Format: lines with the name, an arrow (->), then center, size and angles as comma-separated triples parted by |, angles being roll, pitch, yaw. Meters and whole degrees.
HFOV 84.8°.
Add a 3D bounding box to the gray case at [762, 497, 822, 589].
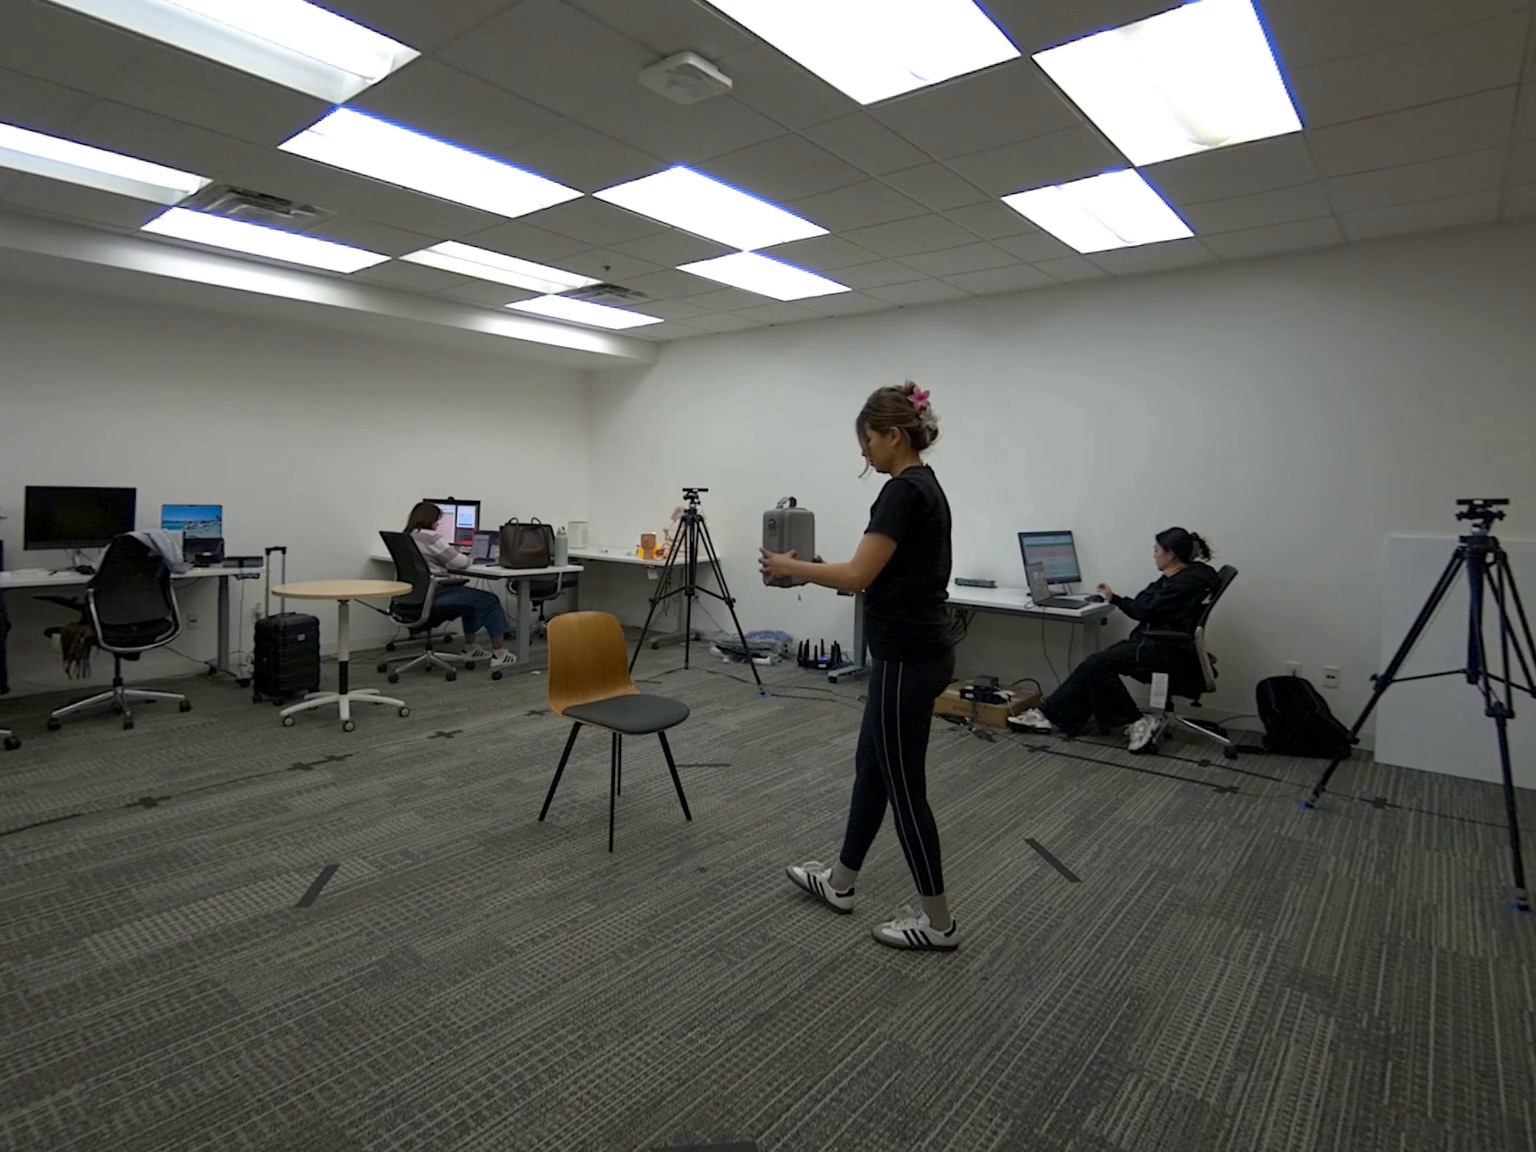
gray case -> 0.061, -0.104, 2.803 | 0.107, 0.260, 0.251 | -1, 1, 24
